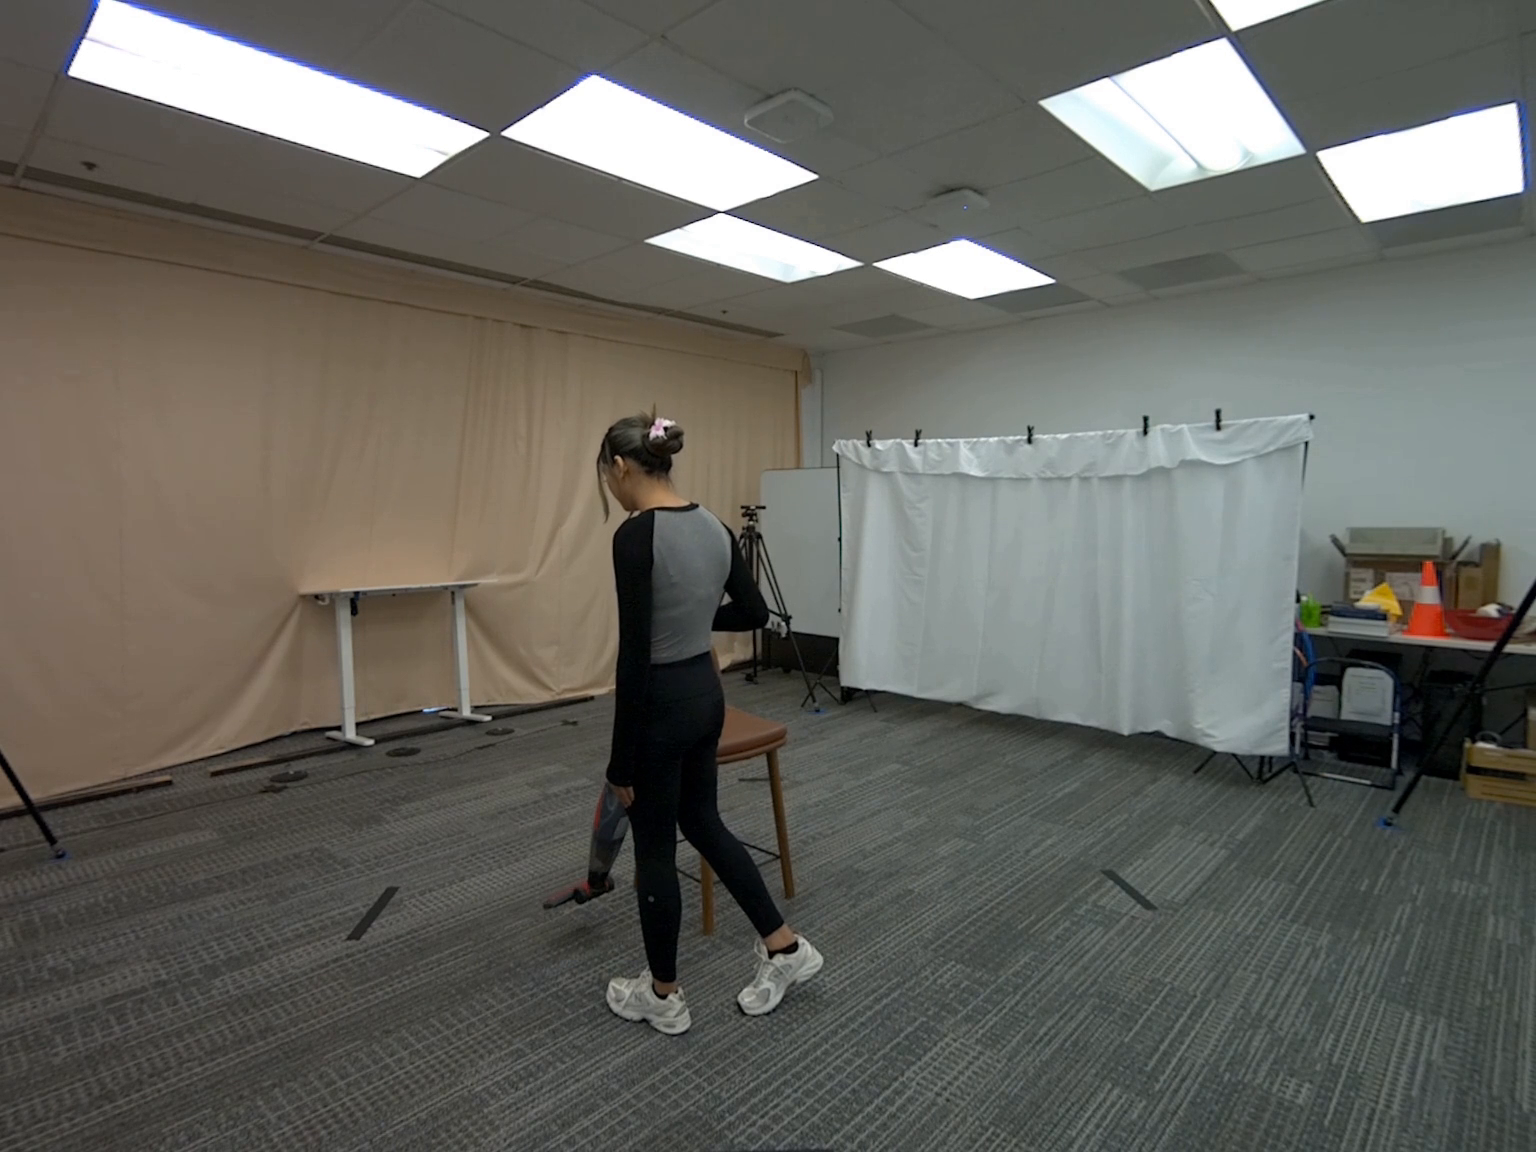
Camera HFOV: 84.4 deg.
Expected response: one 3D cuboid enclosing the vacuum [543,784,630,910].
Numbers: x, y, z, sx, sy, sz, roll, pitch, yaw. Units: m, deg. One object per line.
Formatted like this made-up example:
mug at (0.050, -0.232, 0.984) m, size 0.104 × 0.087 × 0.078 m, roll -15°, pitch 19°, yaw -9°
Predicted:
vacuum at (-0.437, 0.583, 2.574) m, size 0.149 × 1.045 × 0.245 m, roll 31°, pitch 21°, yaw 30°
